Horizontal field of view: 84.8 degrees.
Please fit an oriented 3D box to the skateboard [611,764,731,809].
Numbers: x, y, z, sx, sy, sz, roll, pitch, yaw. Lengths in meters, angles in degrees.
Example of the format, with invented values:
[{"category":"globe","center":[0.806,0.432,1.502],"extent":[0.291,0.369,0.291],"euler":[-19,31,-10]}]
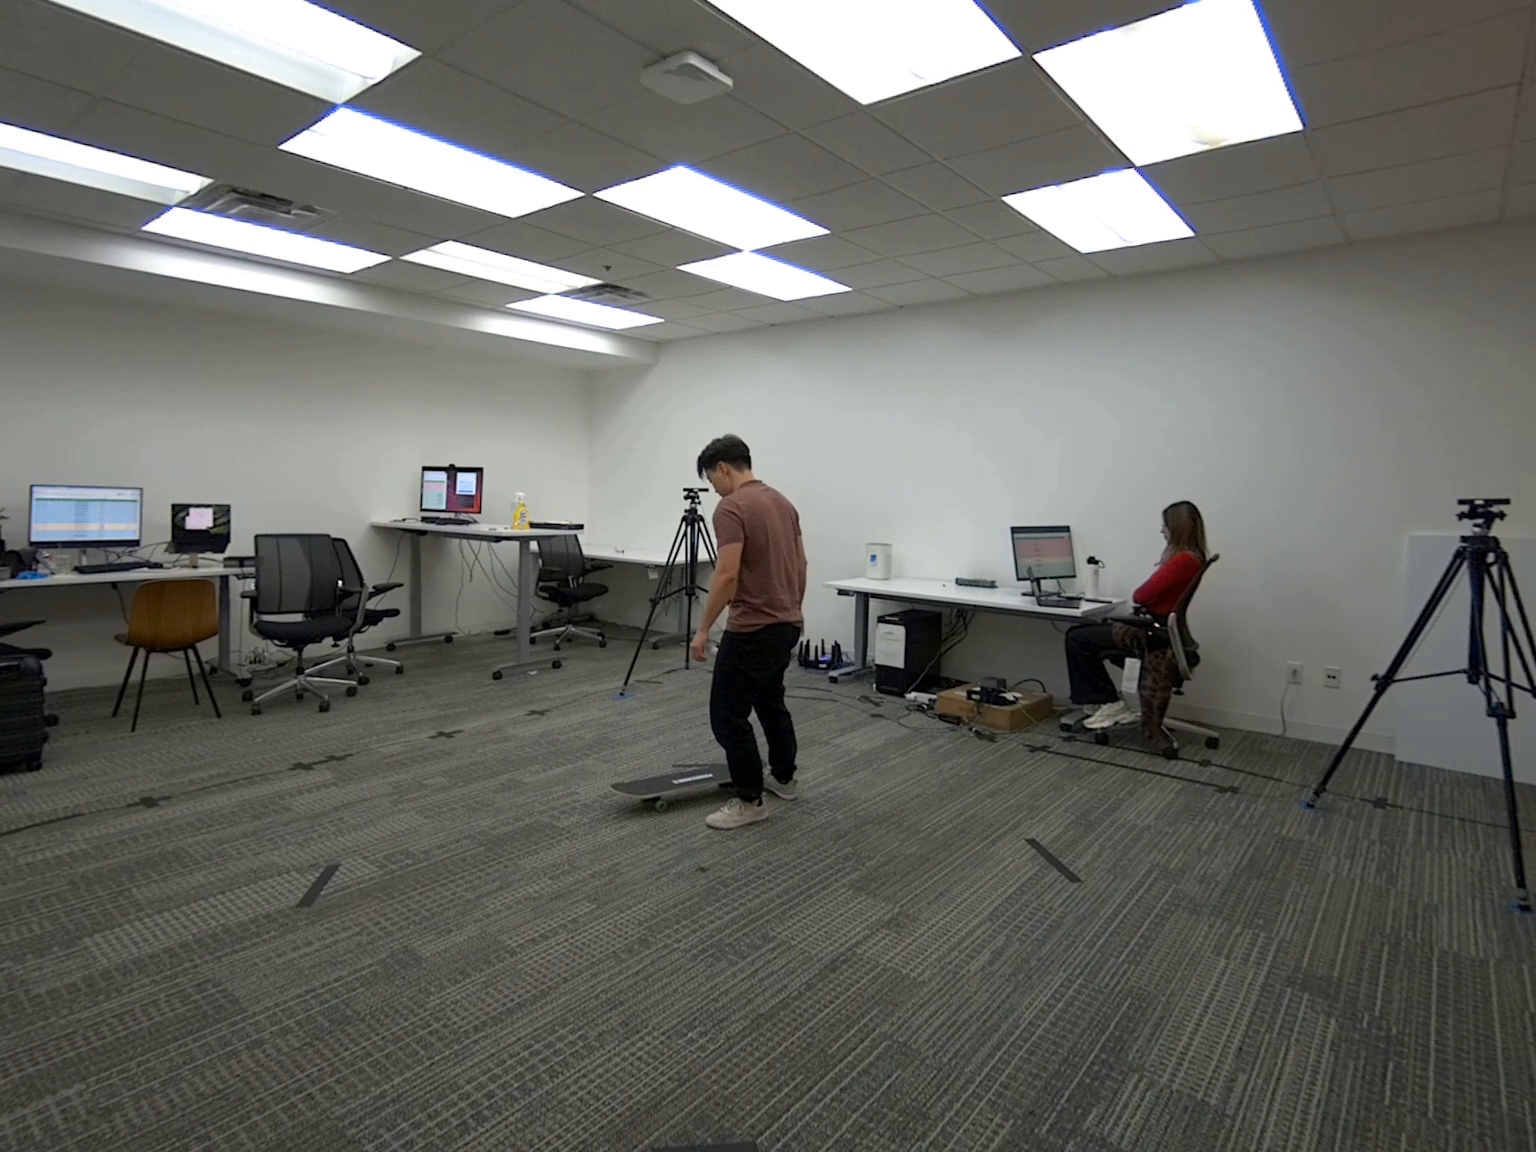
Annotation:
[{"category":"skateboard","center":[-0.361,0.946,3.831],"extent":[0.764,0.110,0.199],"euler":[-2,6,-31]}]
